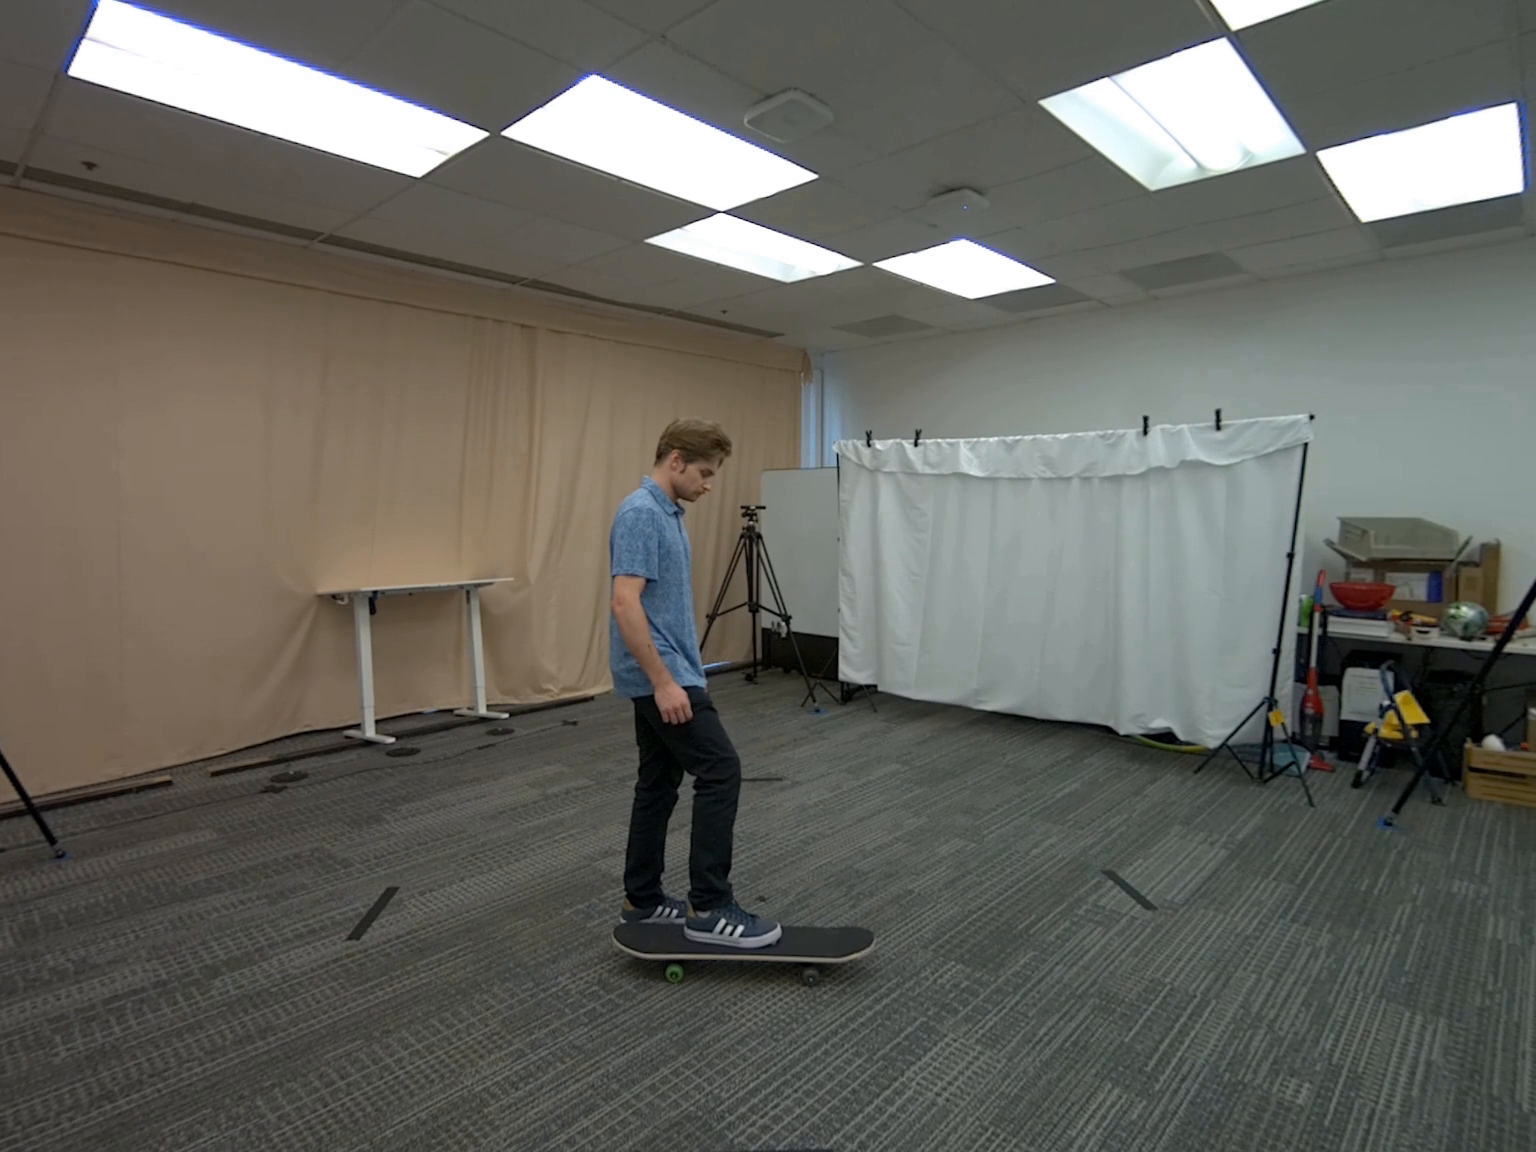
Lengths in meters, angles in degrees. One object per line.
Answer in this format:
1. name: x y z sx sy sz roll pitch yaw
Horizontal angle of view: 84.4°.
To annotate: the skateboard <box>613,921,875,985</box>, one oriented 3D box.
1. skateboard: -0.063 1.121 2.533 0.787 0.110 0.193 -1 2 2
